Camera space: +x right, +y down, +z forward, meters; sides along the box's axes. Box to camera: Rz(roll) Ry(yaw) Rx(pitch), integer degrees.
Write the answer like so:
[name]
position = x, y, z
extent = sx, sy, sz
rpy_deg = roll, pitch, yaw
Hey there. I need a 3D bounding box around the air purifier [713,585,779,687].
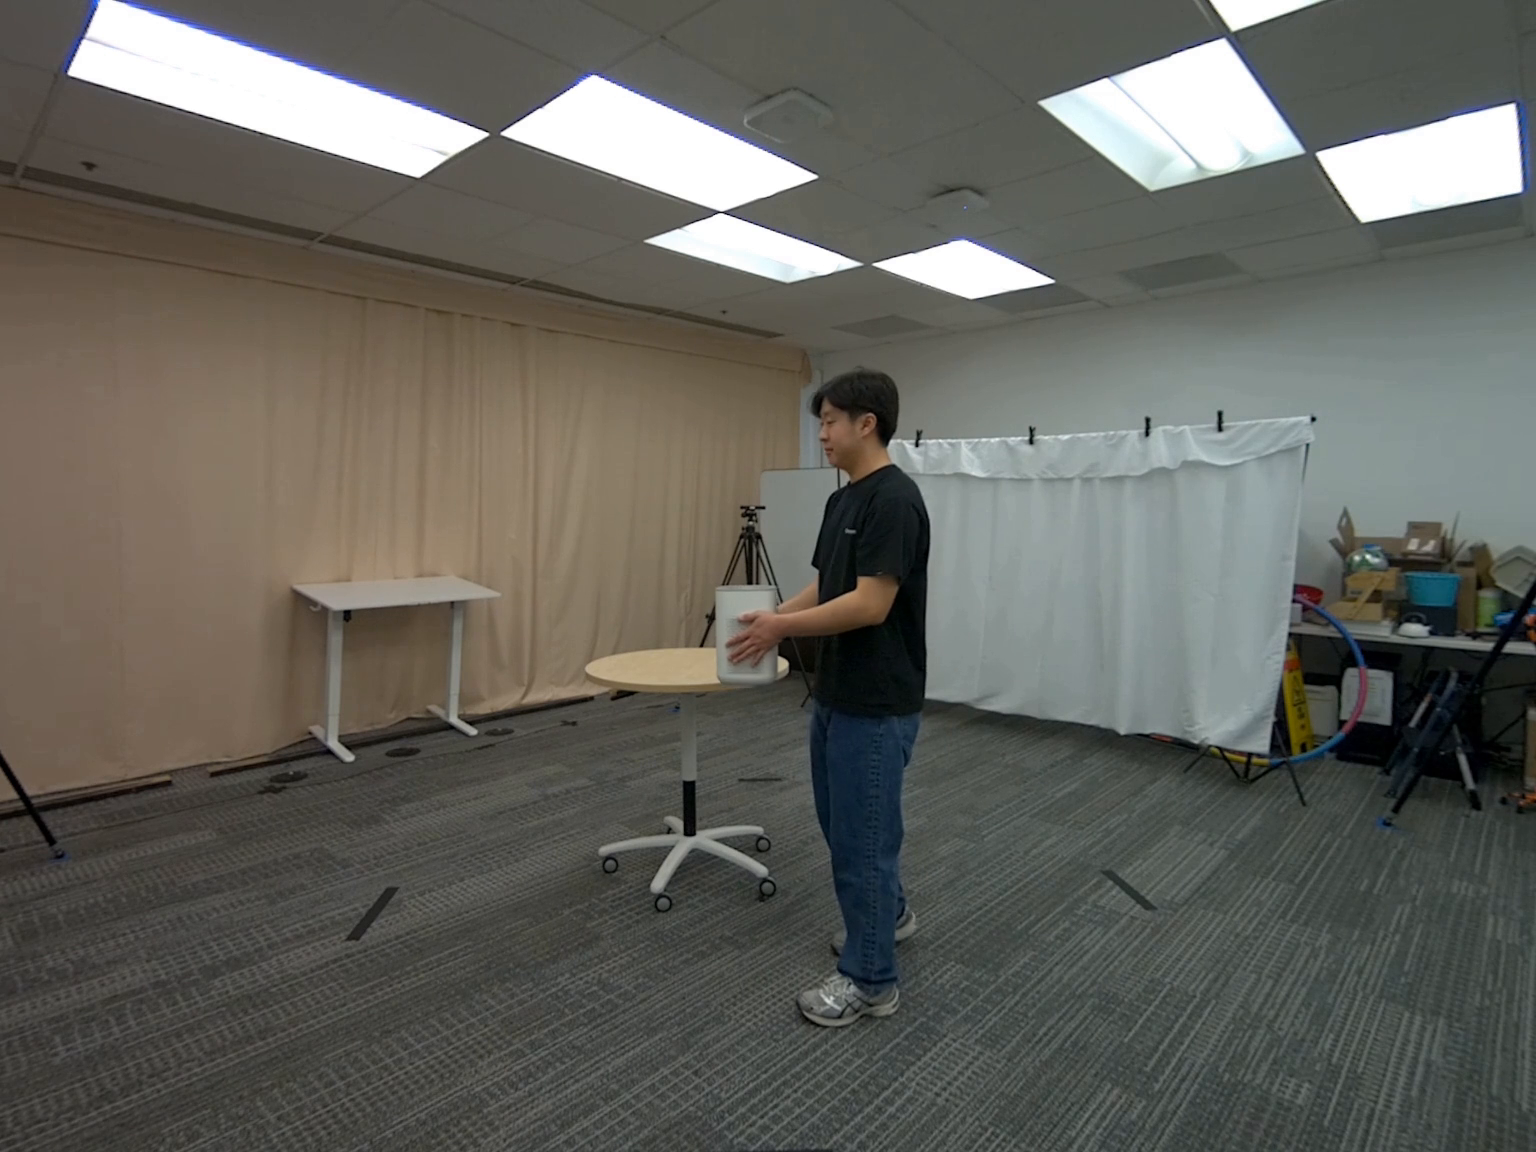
[air purifier]
position = -0.044, 0.169, 2.349
extent = 0.171, 0.265, 0.171
rpy_deg = -1, 2, -2
